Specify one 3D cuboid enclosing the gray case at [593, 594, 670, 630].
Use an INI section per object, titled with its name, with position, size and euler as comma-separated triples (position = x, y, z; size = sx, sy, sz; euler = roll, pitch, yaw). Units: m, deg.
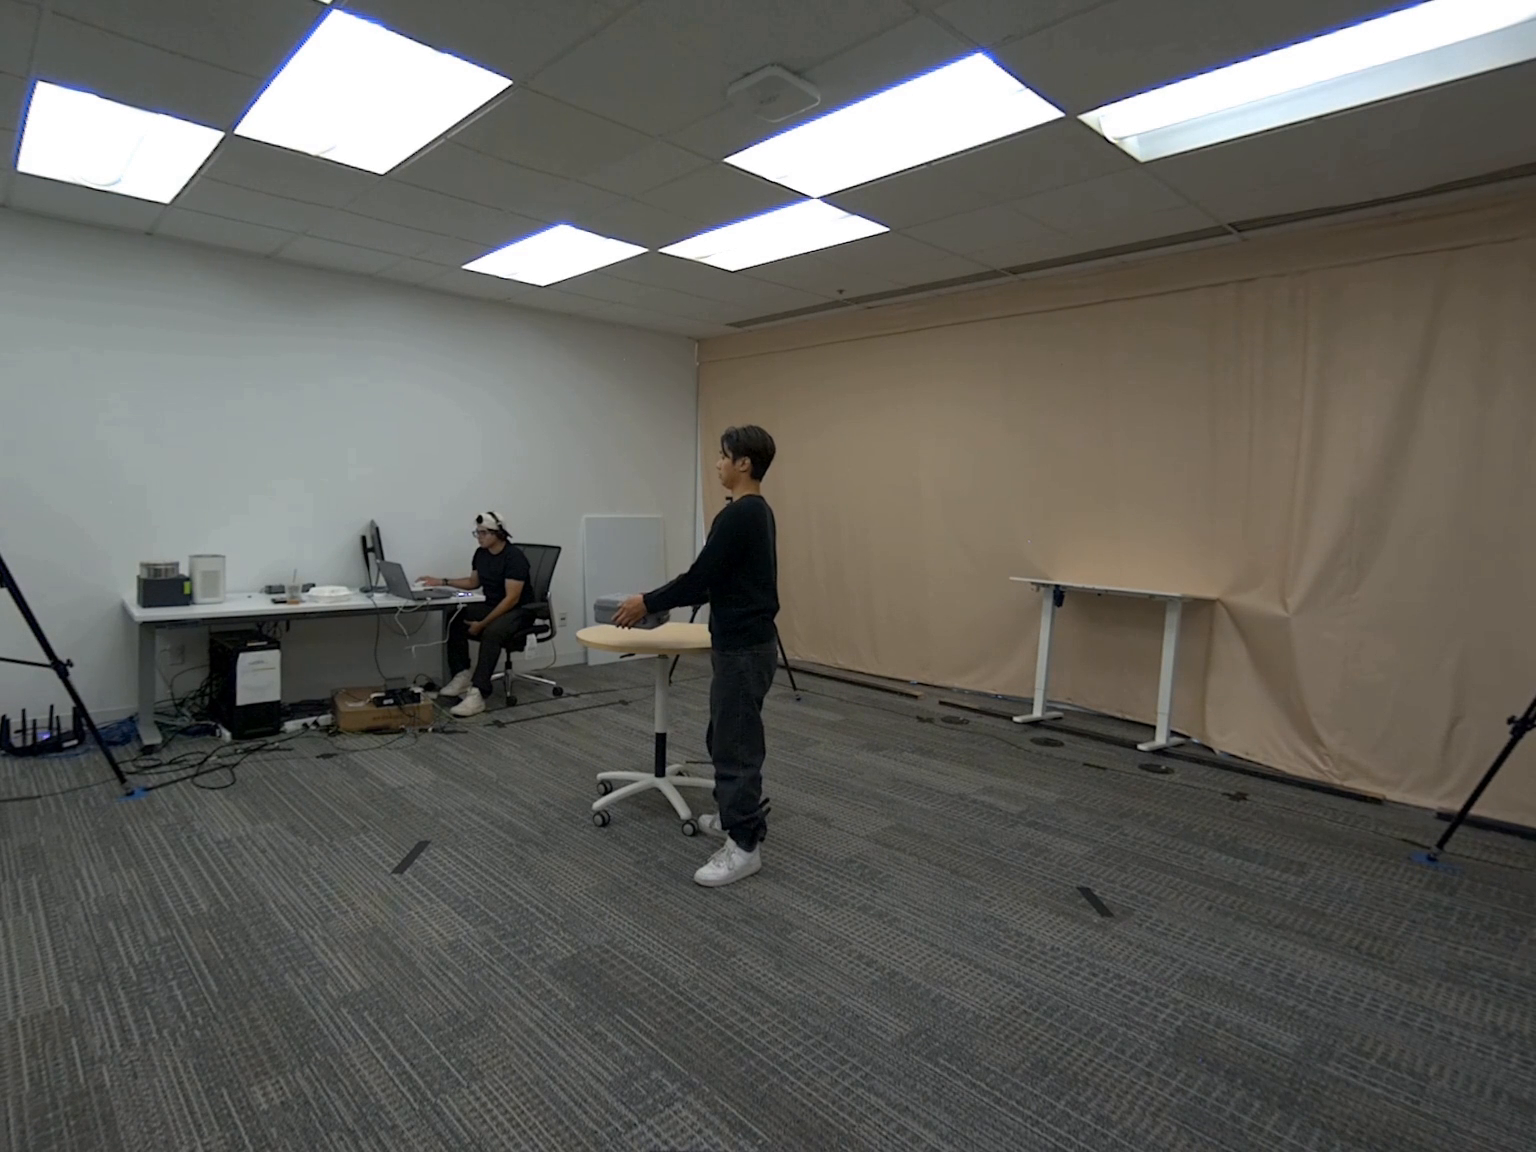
[gray case]
position = -0.539, 0.138, 3.360
size = 0.263, 0.104, 0.254
euler = 6, 2, 11
